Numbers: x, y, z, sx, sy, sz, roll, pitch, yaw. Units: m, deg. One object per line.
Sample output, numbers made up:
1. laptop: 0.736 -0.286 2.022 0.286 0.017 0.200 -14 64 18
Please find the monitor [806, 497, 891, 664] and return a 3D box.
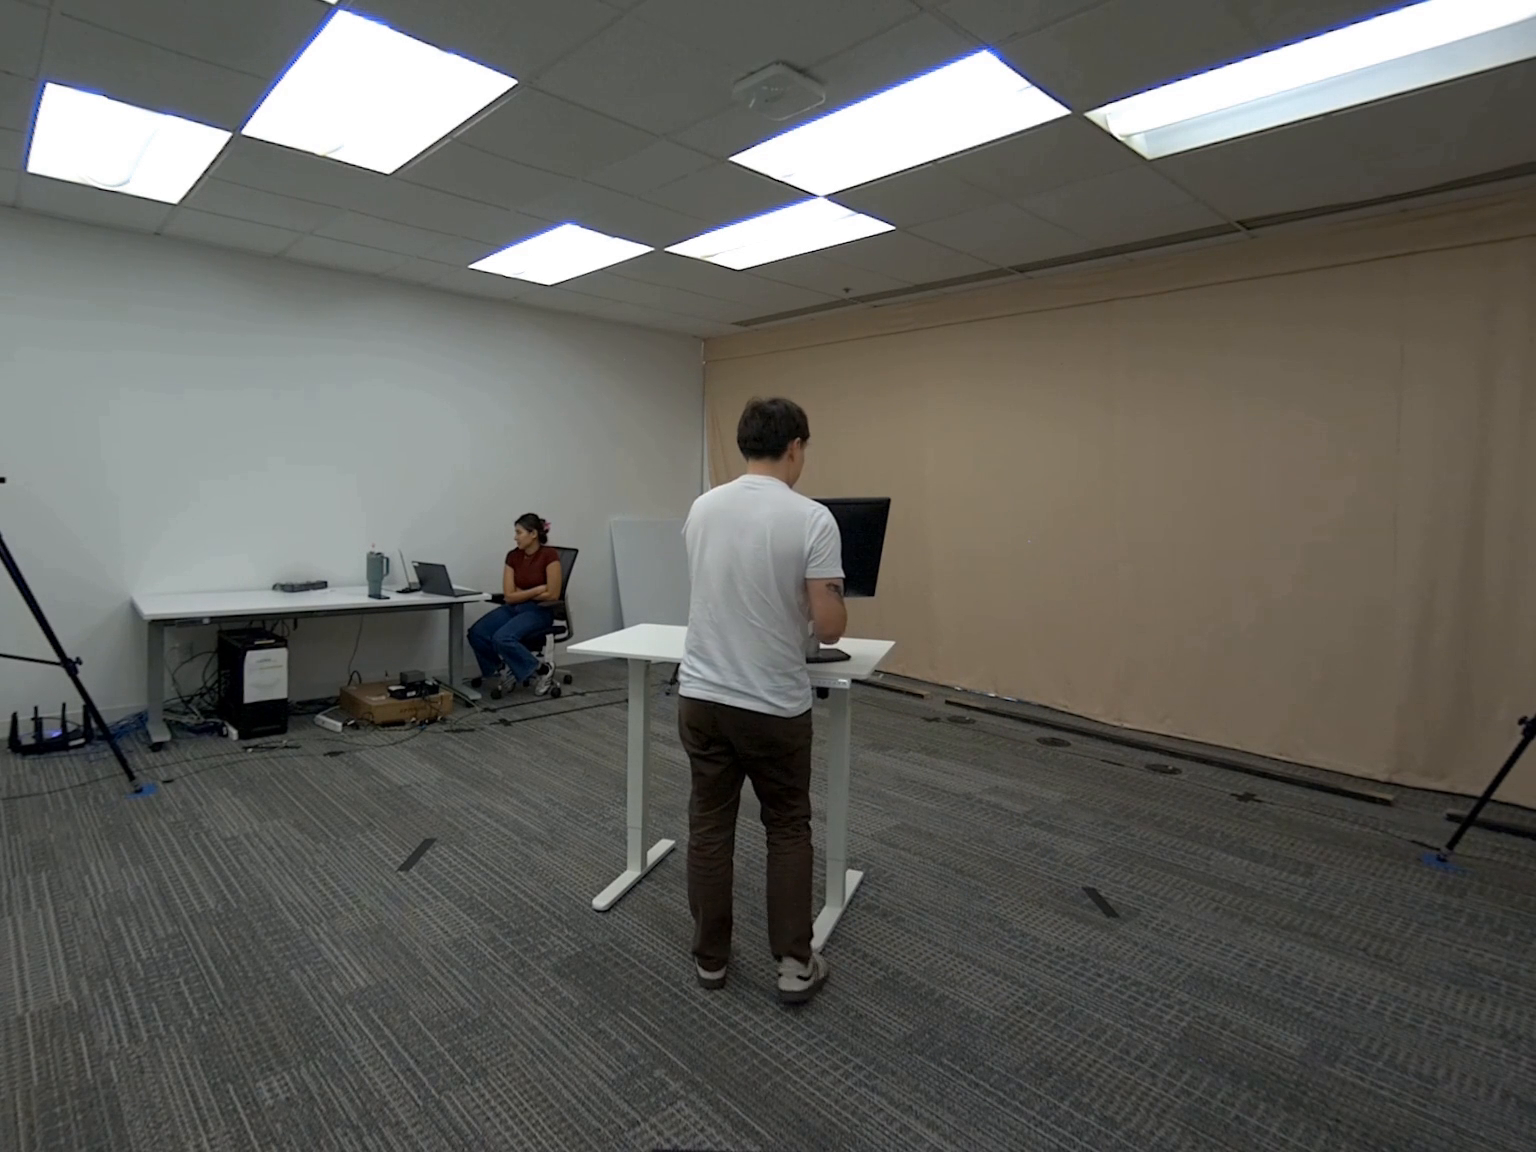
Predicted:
1. monitor: 0.128 0.011 2.668 0.533 0.520 0.190 -1 7 -15
